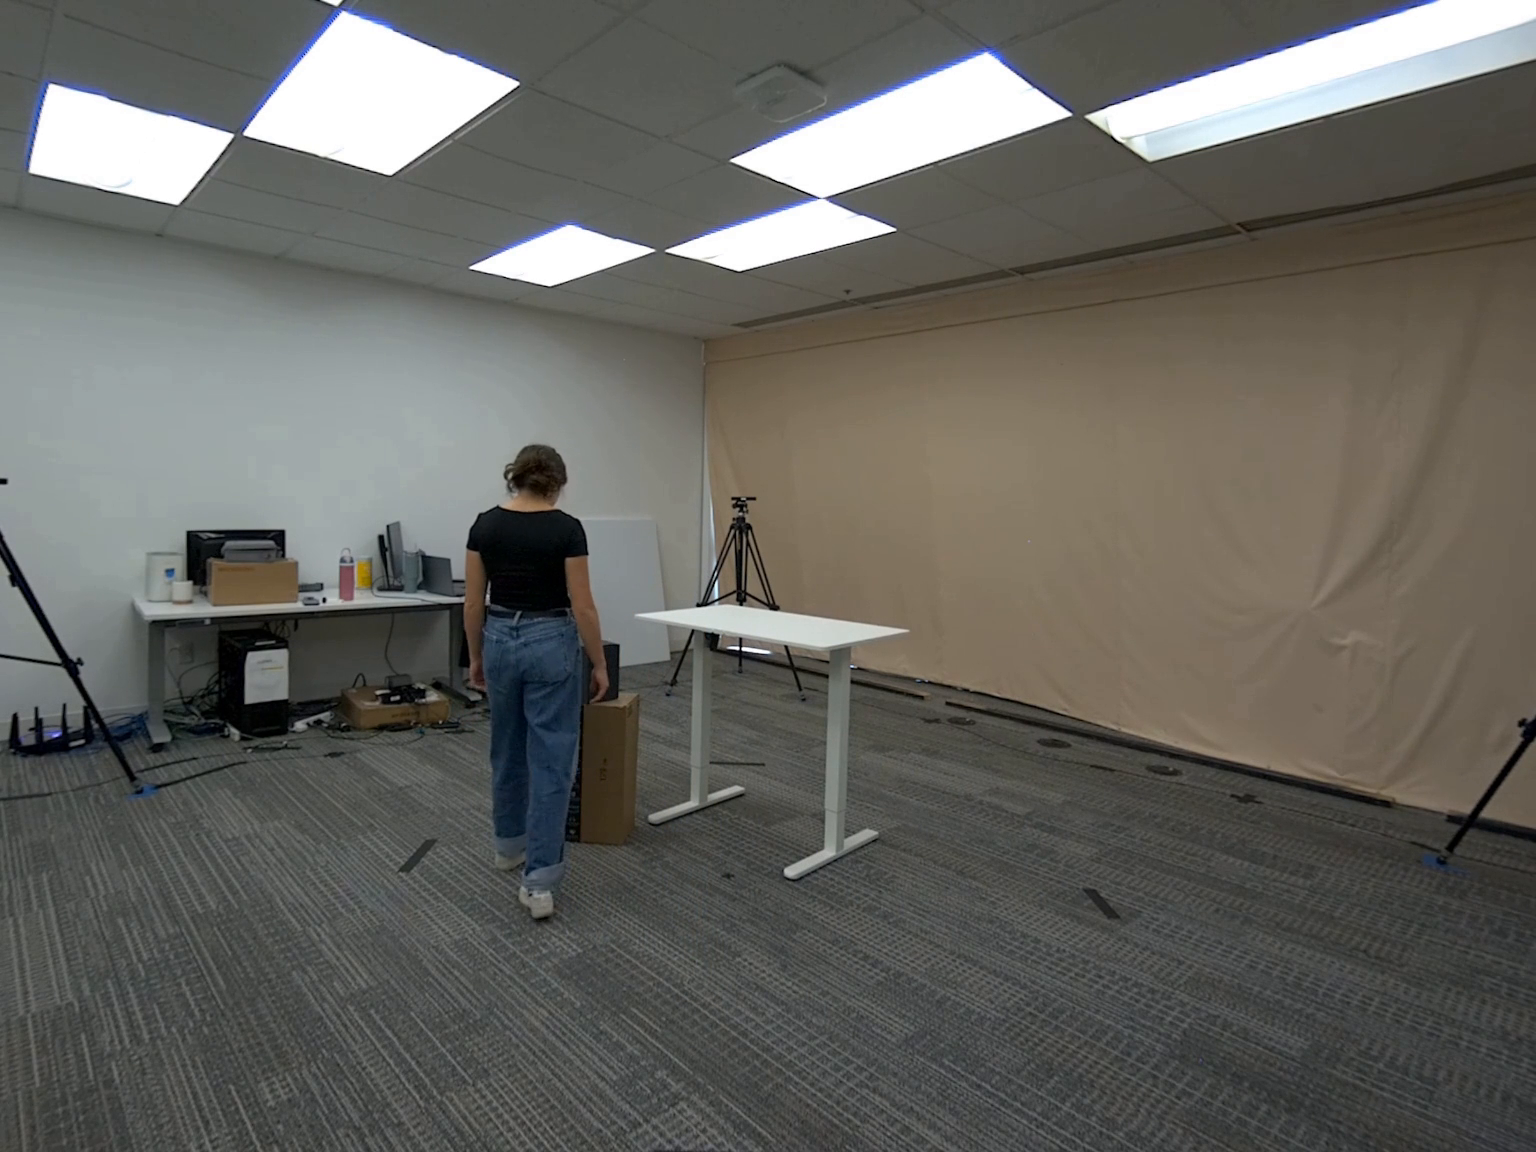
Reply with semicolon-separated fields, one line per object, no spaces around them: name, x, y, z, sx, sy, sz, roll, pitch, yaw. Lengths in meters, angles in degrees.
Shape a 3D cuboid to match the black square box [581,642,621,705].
black square box;-0.733;0.381;3.454;0.152;0.227;0.222;-1;5;-45
